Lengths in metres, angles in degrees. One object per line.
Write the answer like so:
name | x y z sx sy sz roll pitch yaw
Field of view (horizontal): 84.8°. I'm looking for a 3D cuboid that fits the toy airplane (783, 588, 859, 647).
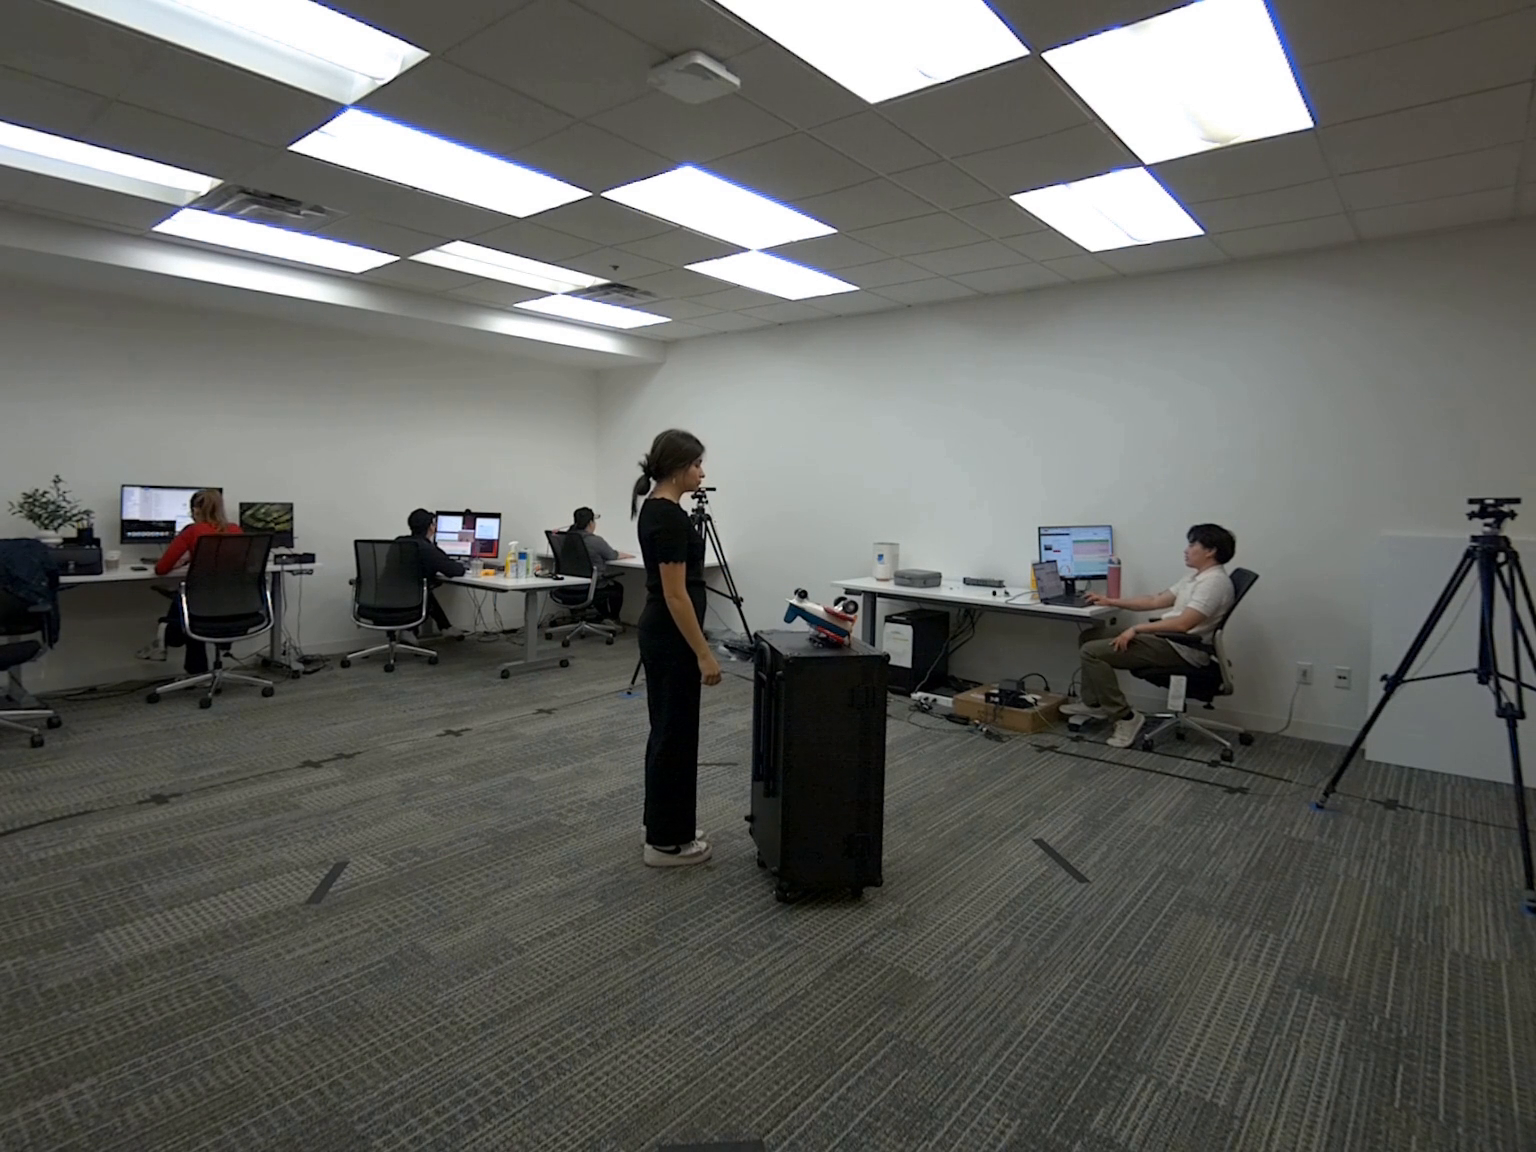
toy airplane | 0.179 0.134 3.060 0.263 0.156 0.247 12 2 12
